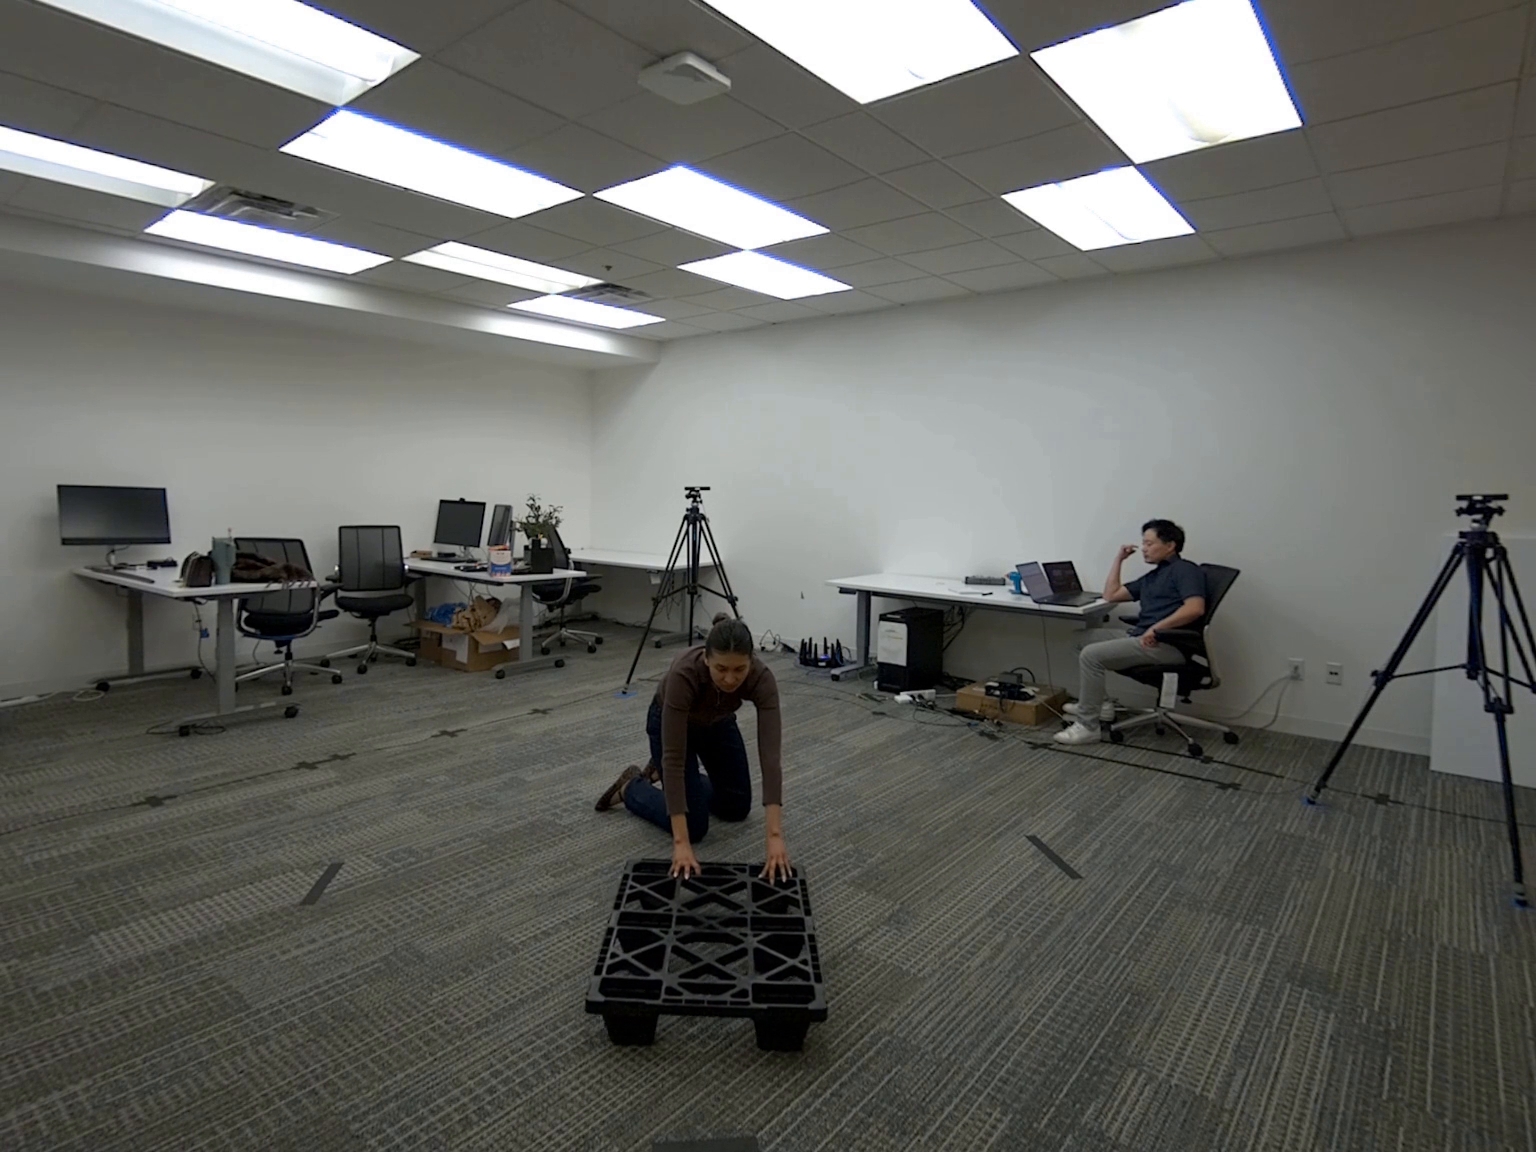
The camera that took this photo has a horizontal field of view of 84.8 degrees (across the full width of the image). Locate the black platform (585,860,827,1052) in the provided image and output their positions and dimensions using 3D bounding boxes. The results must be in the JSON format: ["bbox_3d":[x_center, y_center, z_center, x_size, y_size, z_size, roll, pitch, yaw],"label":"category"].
[{"bbox_3d":[-0.171,1.062,2.475,0.605,0.143,0.809,1,6,-1],"label":"black platform"}]
